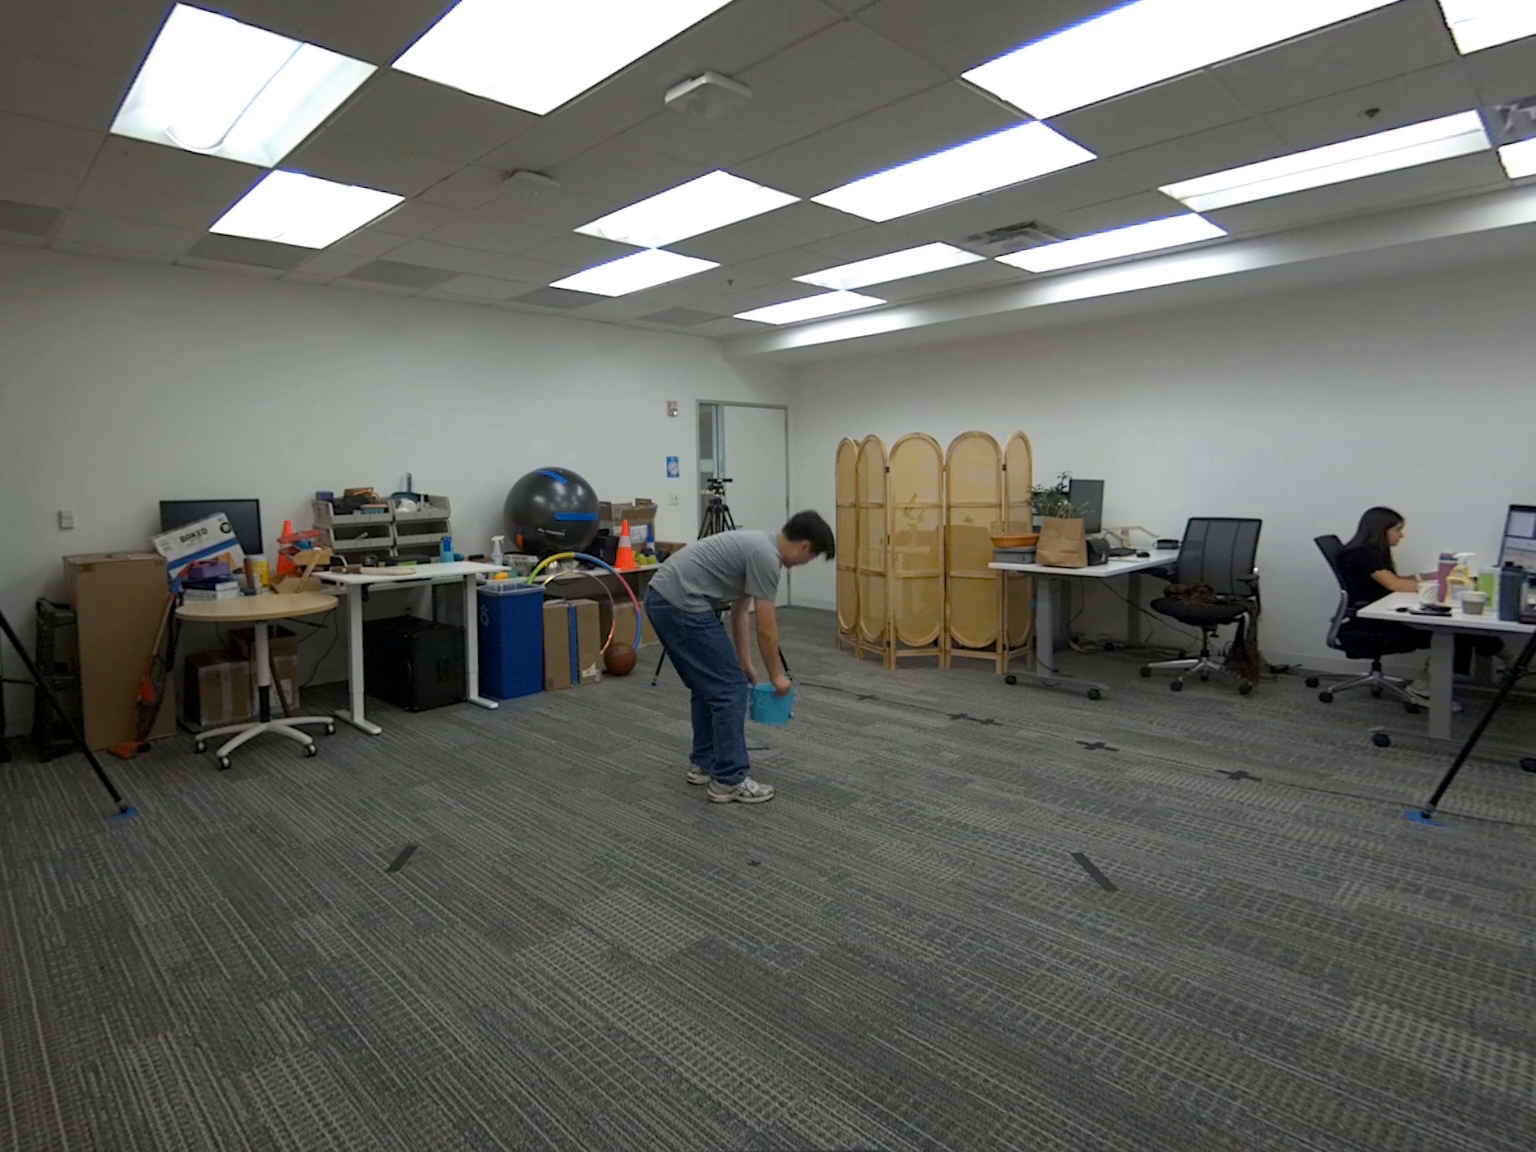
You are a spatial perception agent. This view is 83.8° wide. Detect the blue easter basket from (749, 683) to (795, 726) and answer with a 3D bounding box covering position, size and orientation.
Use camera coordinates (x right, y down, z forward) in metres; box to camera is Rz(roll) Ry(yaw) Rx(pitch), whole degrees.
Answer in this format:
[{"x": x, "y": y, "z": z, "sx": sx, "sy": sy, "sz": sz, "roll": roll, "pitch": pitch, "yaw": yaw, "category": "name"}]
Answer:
[{"x": 0.011, "y": 0.614, "z": 3.996, "sx": 0.243, "sy": 0.156, "sz": 0.244, "roll": 2, "pitch": 2, "yaw": -2, "category": "blue easter basket"}]
